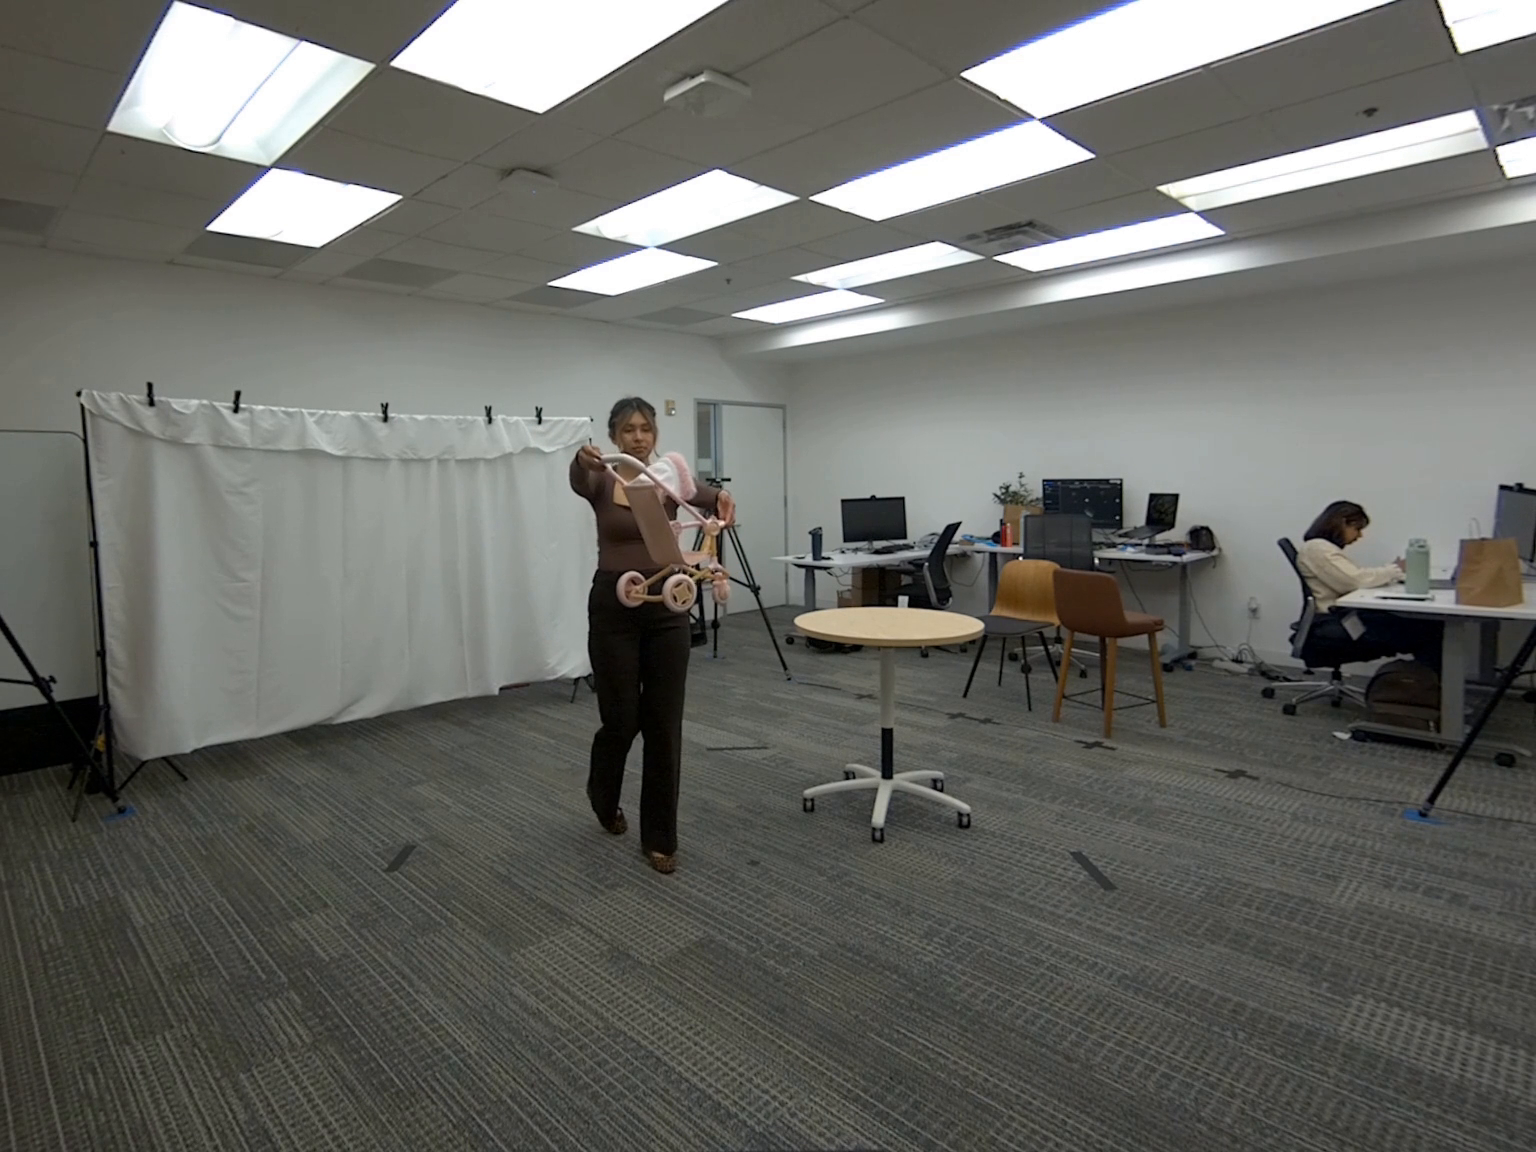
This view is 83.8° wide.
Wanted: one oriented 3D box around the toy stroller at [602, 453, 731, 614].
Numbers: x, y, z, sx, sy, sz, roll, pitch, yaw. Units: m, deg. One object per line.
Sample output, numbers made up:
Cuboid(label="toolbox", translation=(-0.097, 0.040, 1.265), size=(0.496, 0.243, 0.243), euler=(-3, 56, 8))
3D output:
Cuboid(label="toy stroller", translation=(-0.281, -0.130, 2.597), size=(0.335, 0.529, 0.289), euler=(-17, 12, -33))
